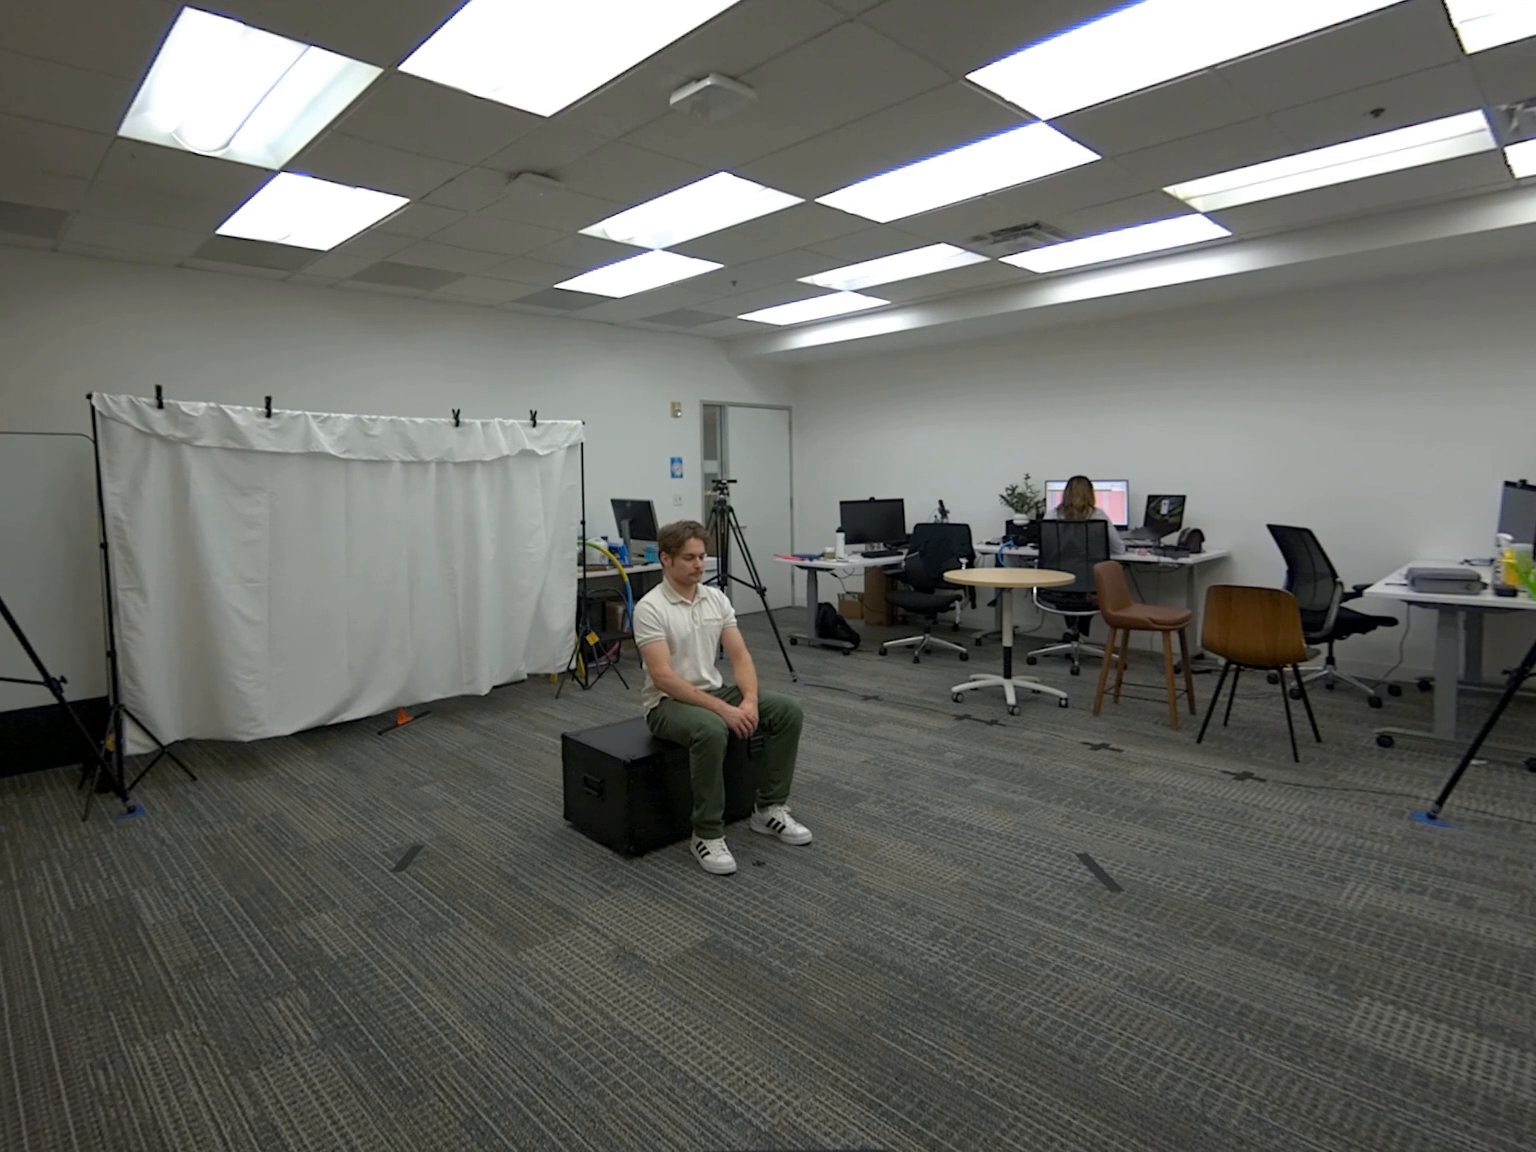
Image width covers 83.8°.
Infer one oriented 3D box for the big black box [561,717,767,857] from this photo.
[{"bbox_3d":[-0.363,0.809,3.578,0.846,0.384,0.539,-6,6,-41],"label":"big black box"}]
